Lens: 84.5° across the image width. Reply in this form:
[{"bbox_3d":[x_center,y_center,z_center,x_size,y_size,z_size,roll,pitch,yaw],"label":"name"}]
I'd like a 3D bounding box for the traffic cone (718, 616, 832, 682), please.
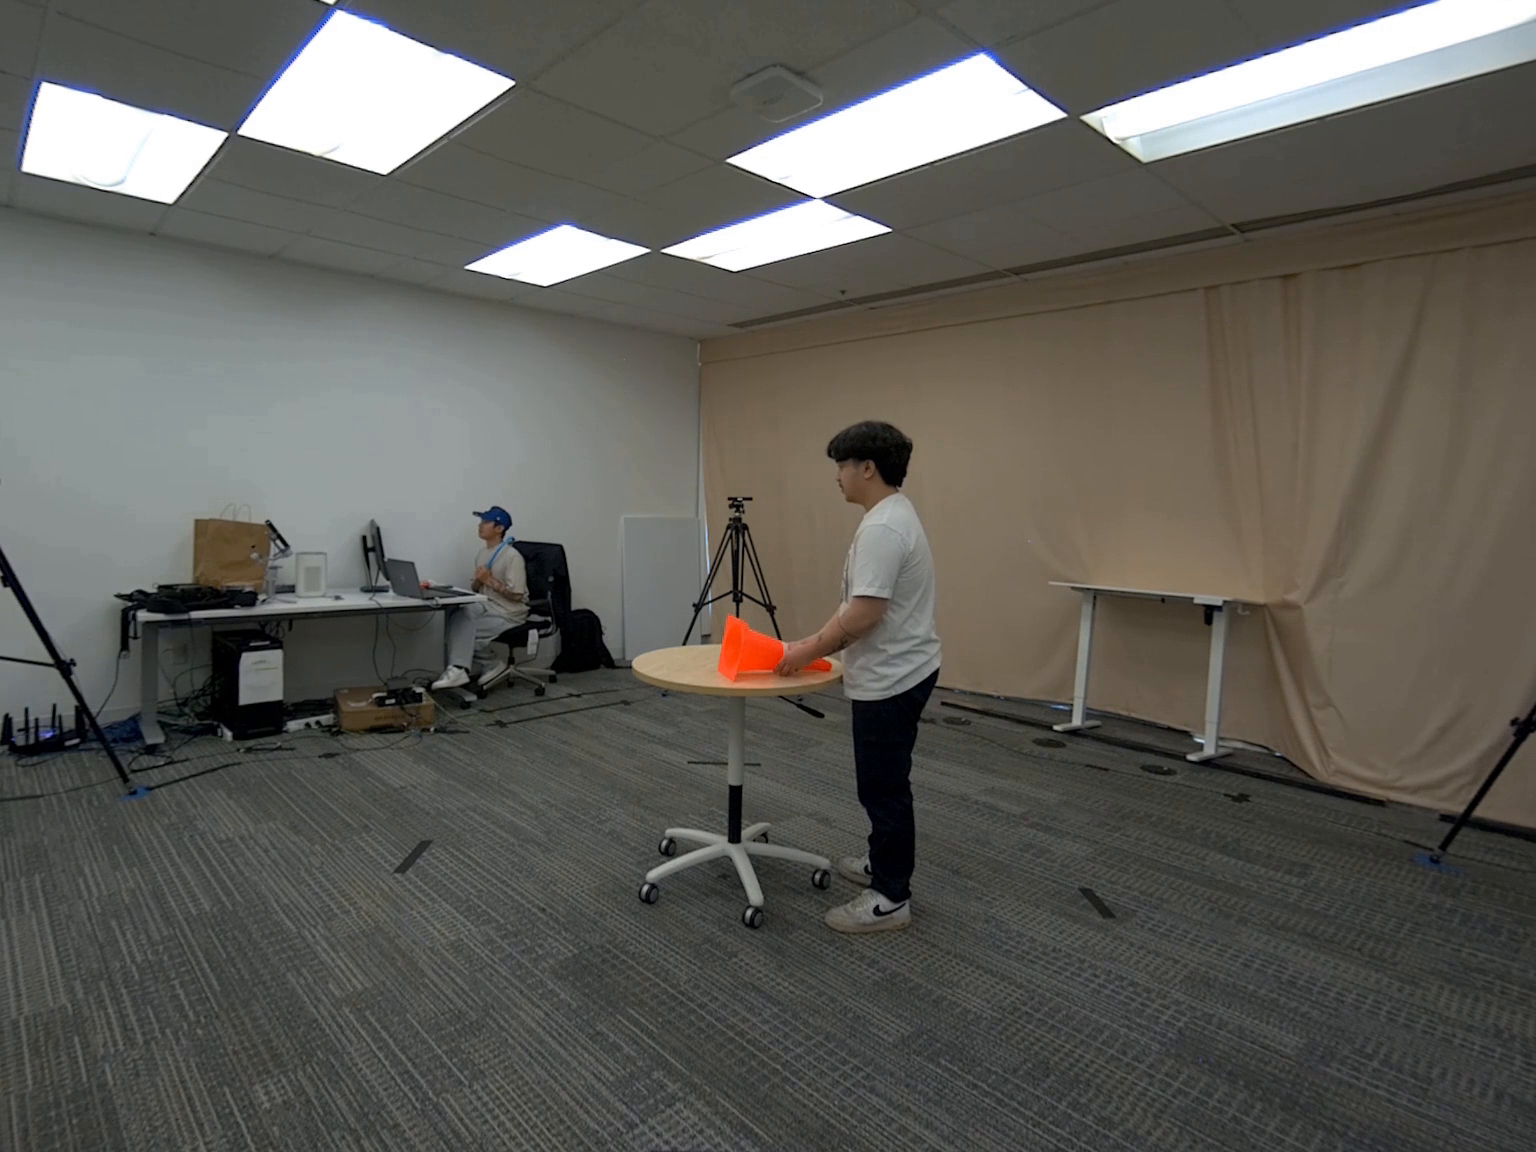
[{"bbox_3d":[0.048,0.281,2.898,0.377,0.204,0.208,14,-6,-18],"label":"traffic cone"}]
